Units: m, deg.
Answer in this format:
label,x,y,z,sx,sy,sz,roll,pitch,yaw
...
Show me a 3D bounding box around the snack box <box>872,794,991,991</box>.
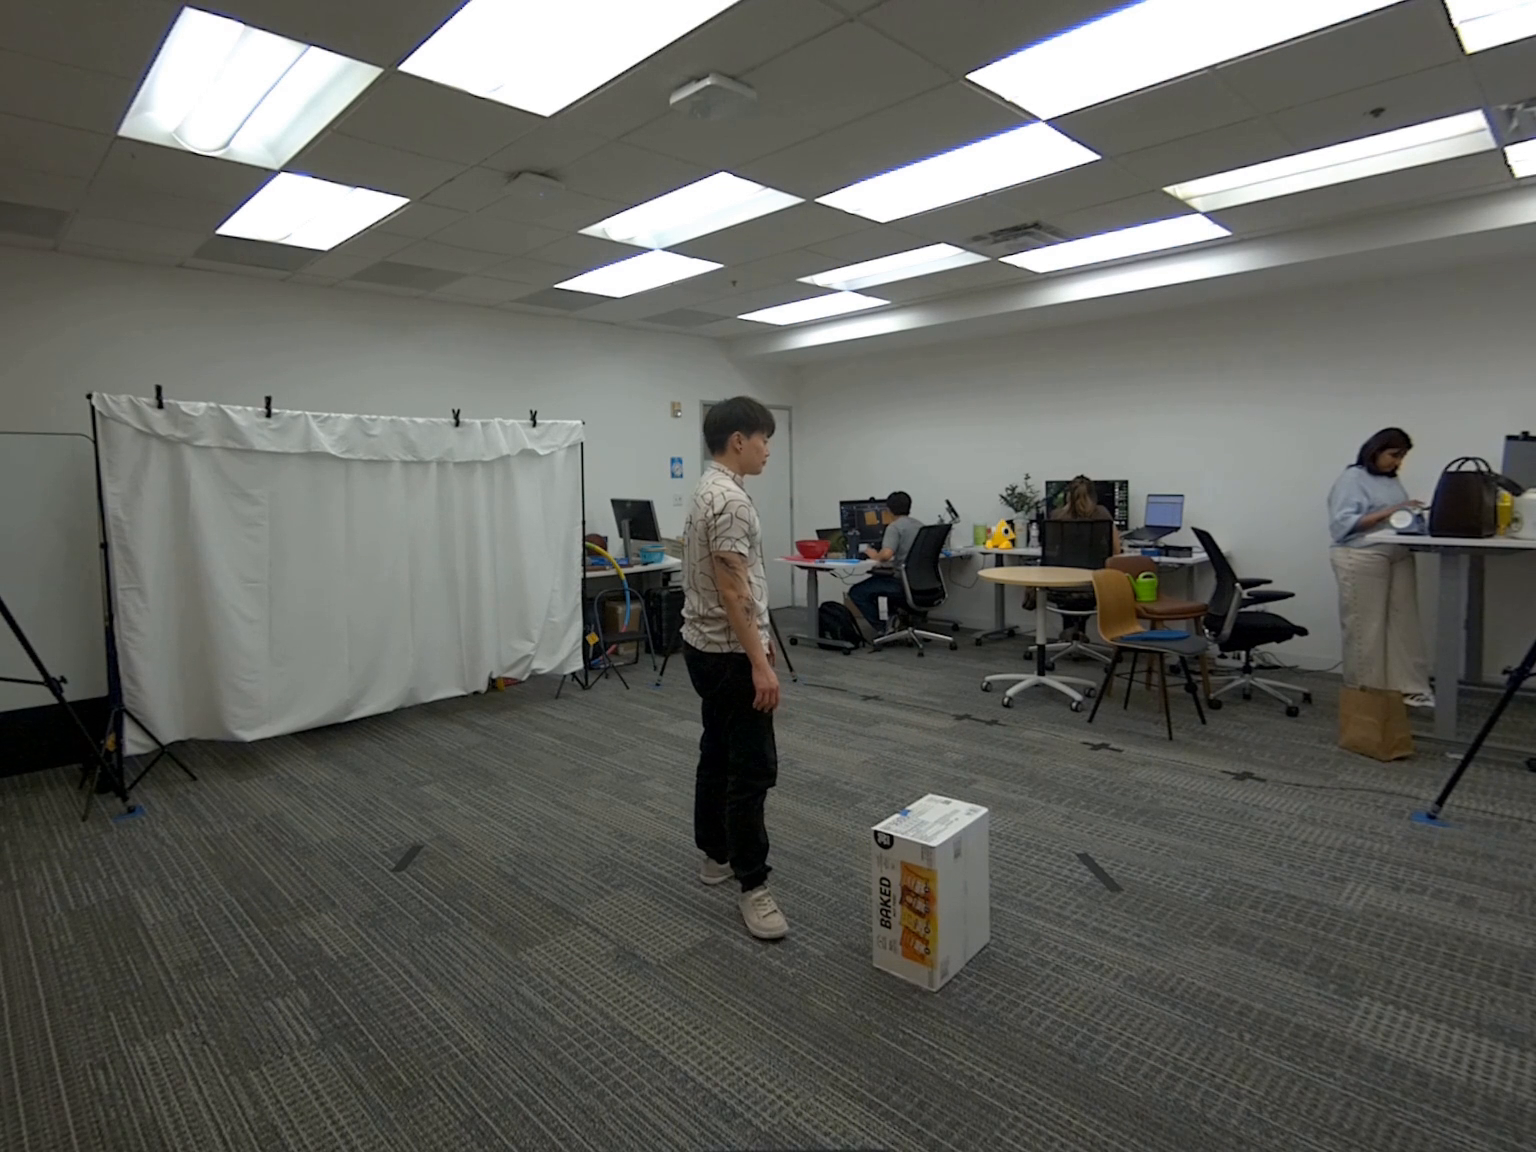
label,x,y,z,sx,sy,sz,roll,pitch,yaw
snack box,0.484,0.910,2.489,0.212,0.404,0.331,2,5,40
